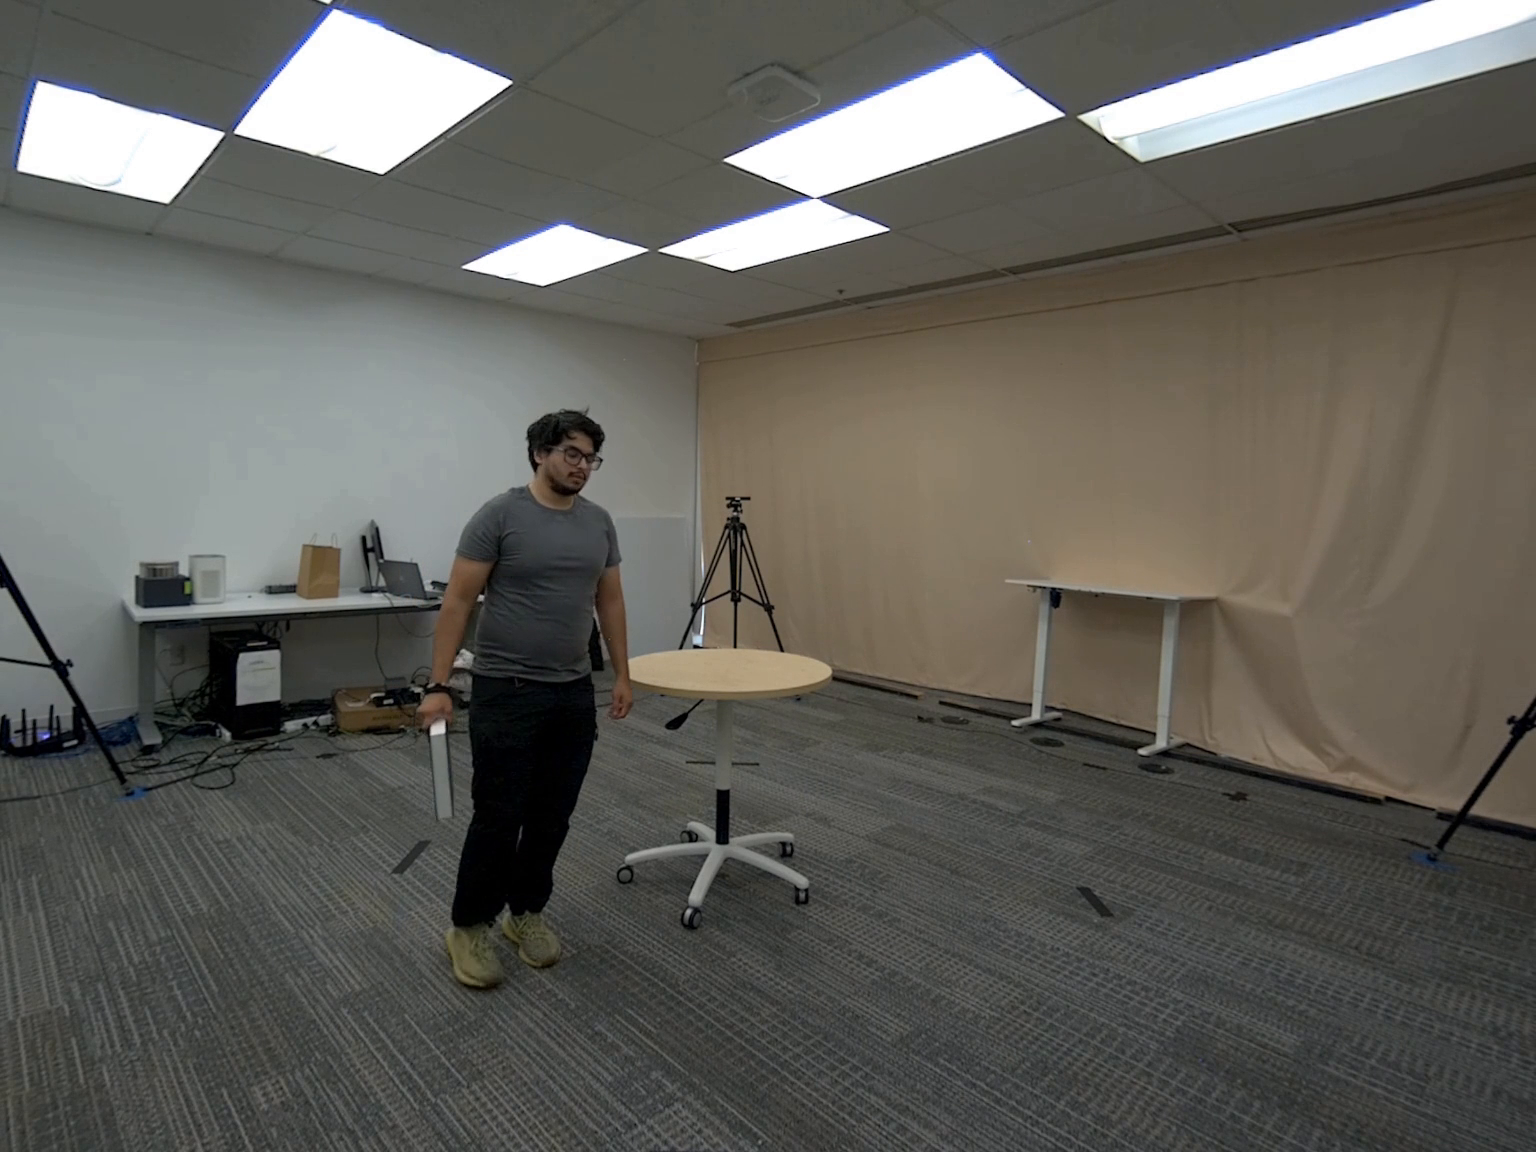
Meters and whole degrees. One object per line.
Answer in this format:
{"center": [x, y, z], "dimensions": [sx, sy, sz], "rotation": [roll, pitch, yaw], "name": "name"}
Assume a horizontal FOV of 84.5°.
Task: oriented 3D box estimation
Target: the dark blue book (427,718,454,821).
{"center": [-0.885, 0.512, 2.288], "dimensions": [0.044, 0.243, 0.166], "rotation": [-5, 9, -17], "name": "dark blue book"}
